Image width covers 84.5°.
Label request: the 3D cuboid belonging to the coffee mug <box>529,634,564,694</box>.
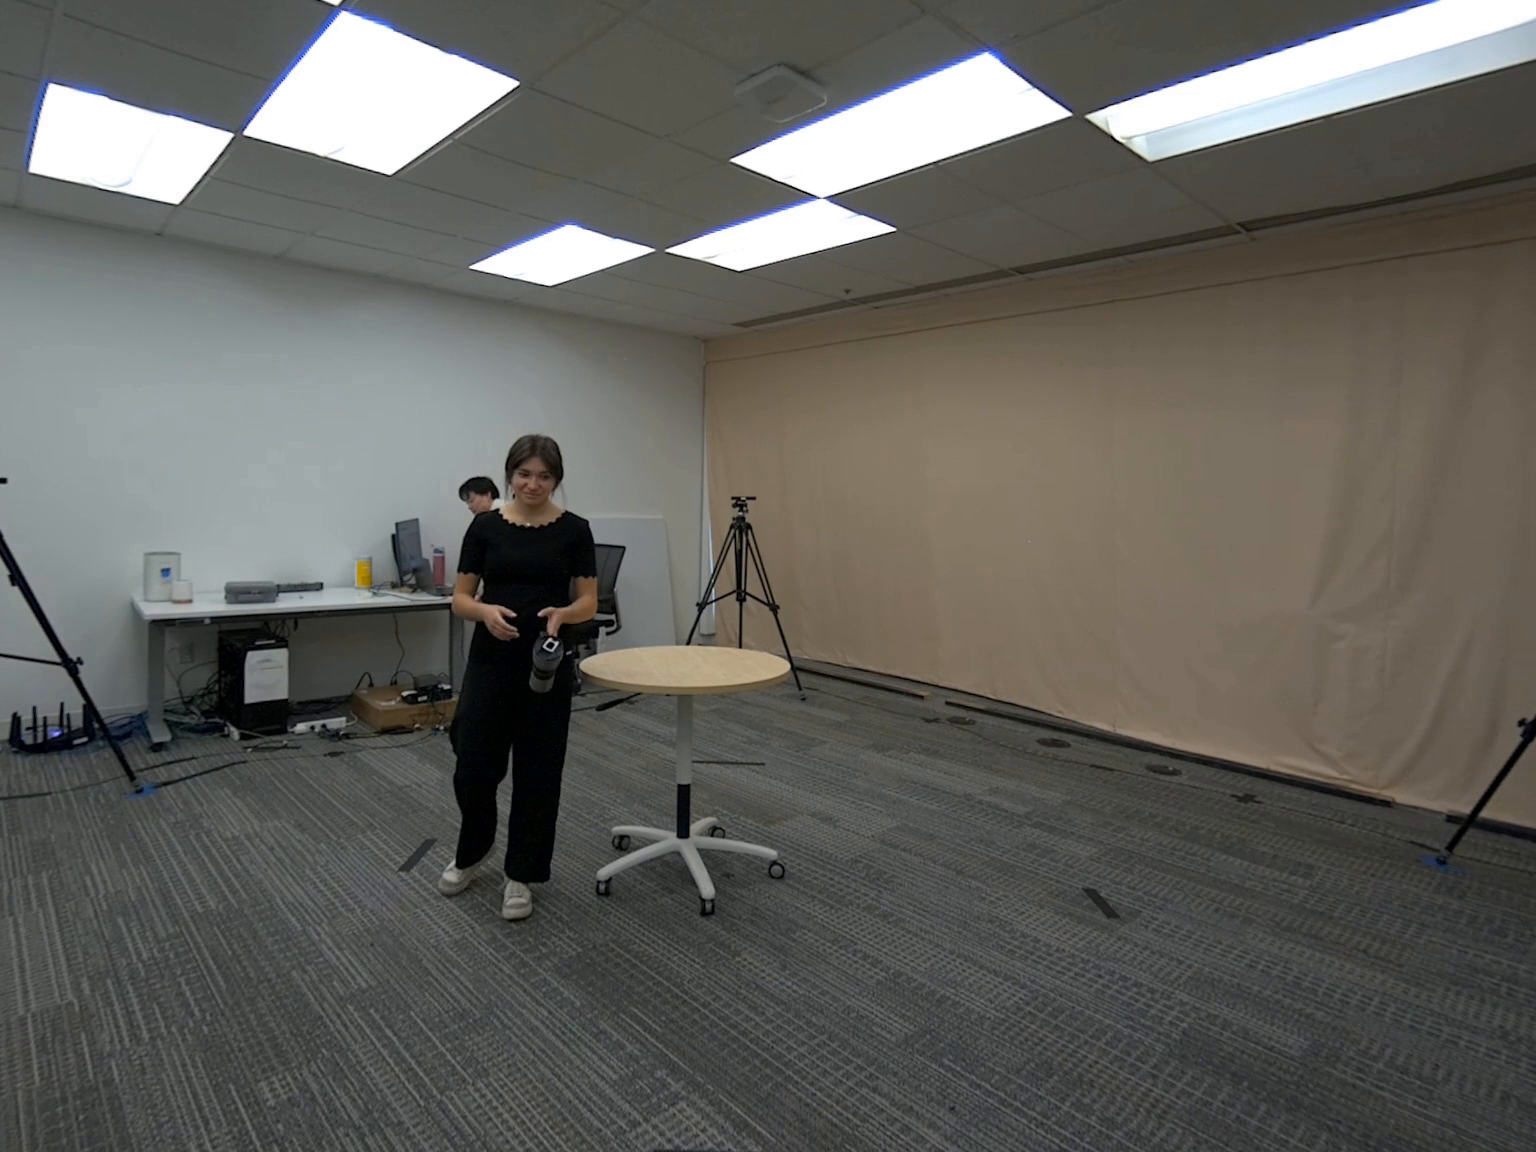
[{"bbox_3d":[-0.704,0.264,2.596,0.087,0.125,0.200,-2,-40,-18],"label":"coffee mug"}]
